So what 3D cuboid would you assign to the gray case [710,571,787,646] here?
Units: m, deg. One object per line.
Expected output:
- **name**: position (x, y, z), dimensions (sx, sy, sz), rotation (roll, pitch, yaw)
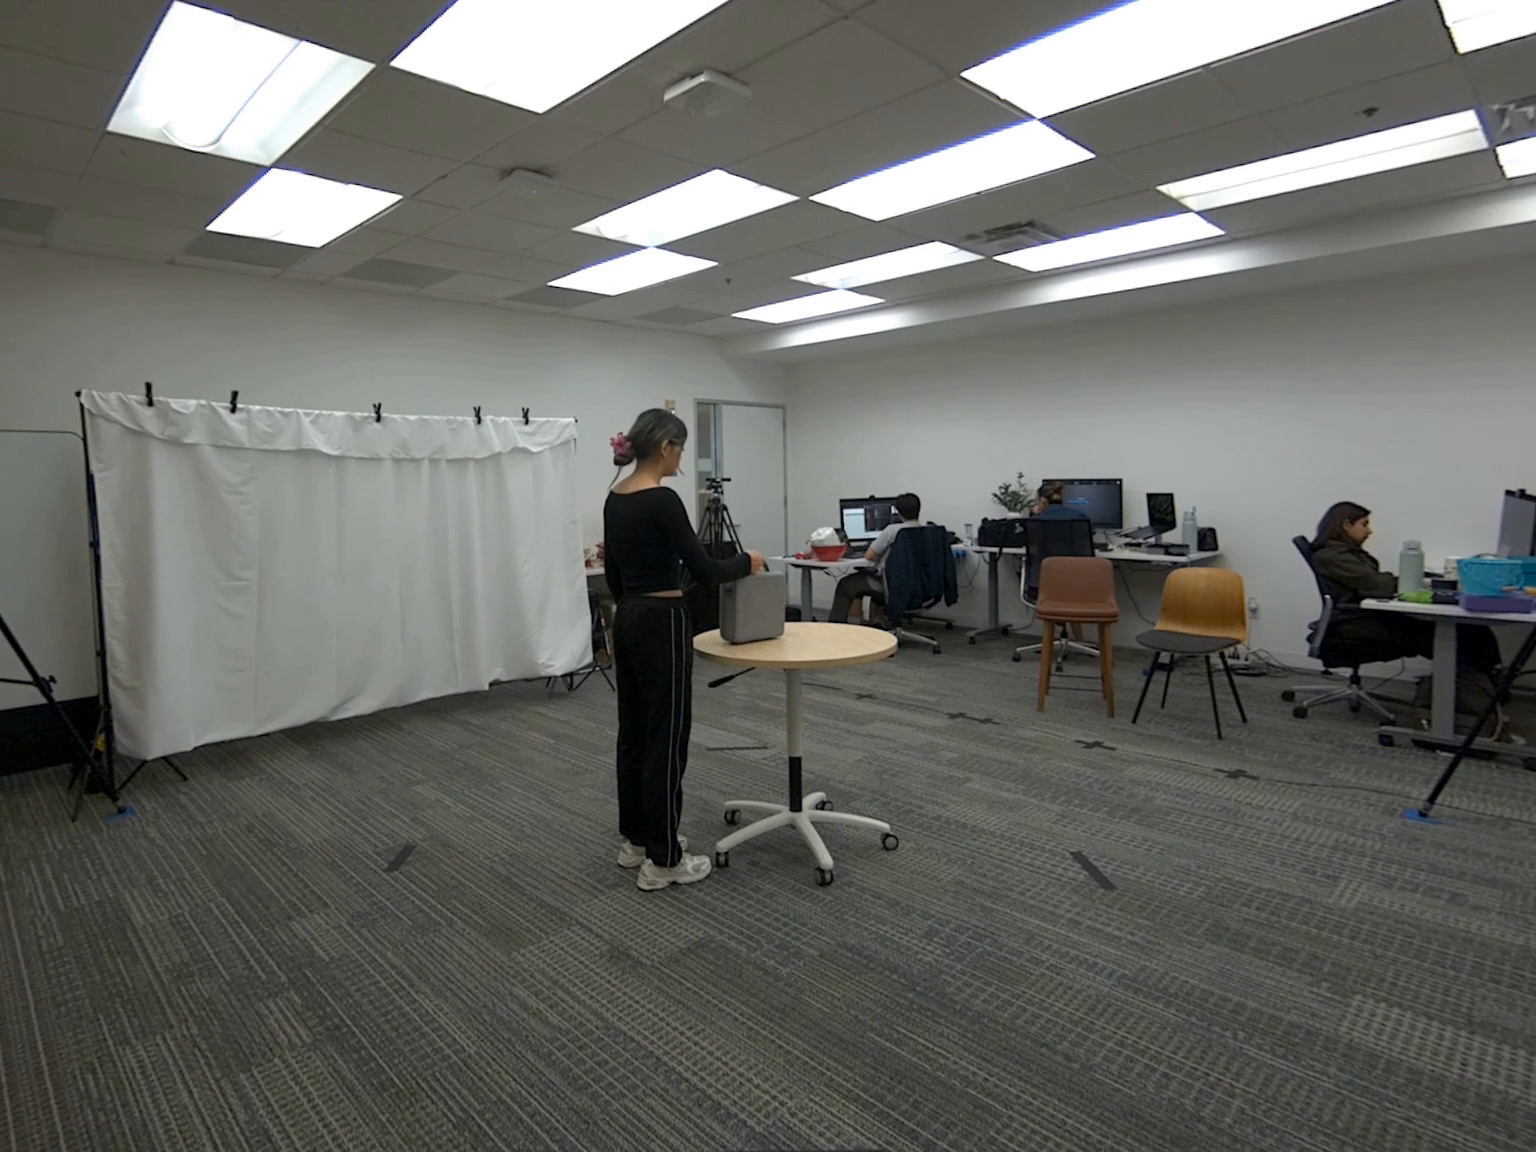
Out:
- **gray case**: position (-0.051, 0.106, 3.179), dimensions (0.250, 0.260, 0.107), rotation (-3, 5, -38)
